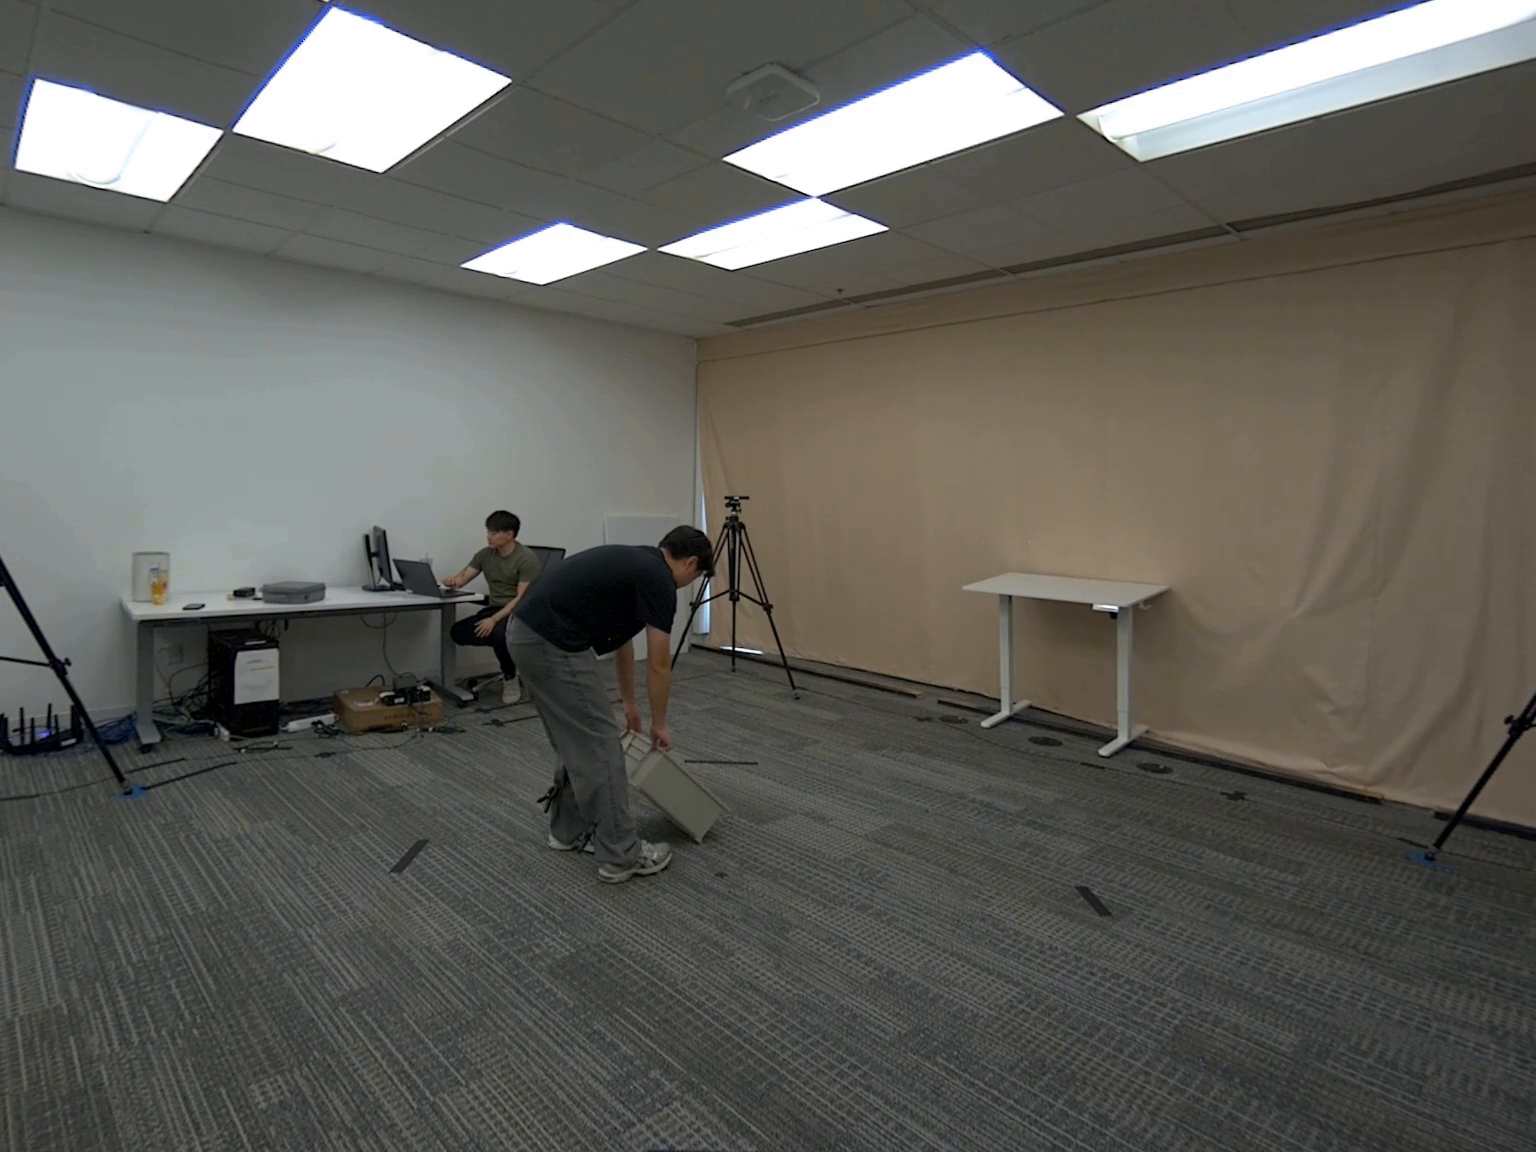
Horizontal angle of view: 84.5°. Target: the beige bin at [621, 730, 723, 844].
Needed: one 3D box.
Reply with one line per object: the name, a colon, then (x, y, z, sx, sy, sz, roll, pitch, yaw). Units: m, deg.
beige bin: (-0.441, 0.859, 3.466, 0.412, 0.189, 0.386, 48, -18, -25)
